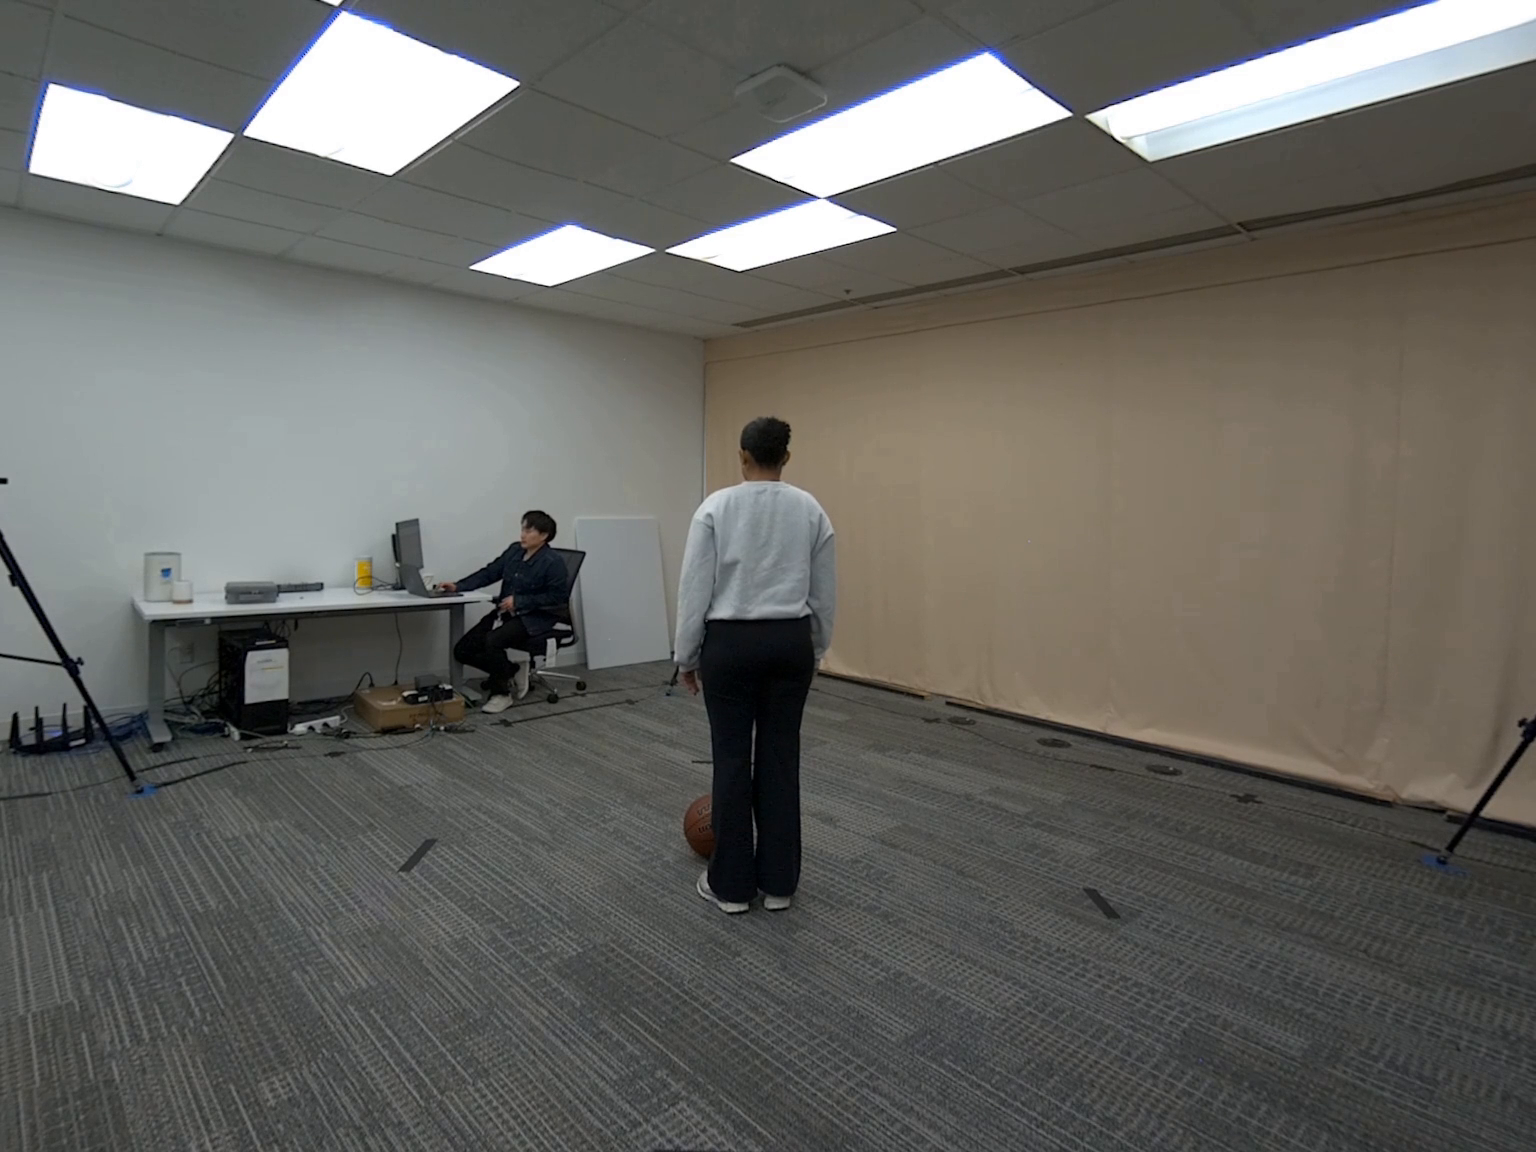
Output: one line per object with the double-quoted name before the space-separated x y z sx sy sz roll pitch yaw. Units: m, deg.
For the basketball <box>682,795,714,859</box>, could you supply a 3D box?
"basketball" -0.216 0.969 3.269 0.236 0.235 0.237 1 4 -1
